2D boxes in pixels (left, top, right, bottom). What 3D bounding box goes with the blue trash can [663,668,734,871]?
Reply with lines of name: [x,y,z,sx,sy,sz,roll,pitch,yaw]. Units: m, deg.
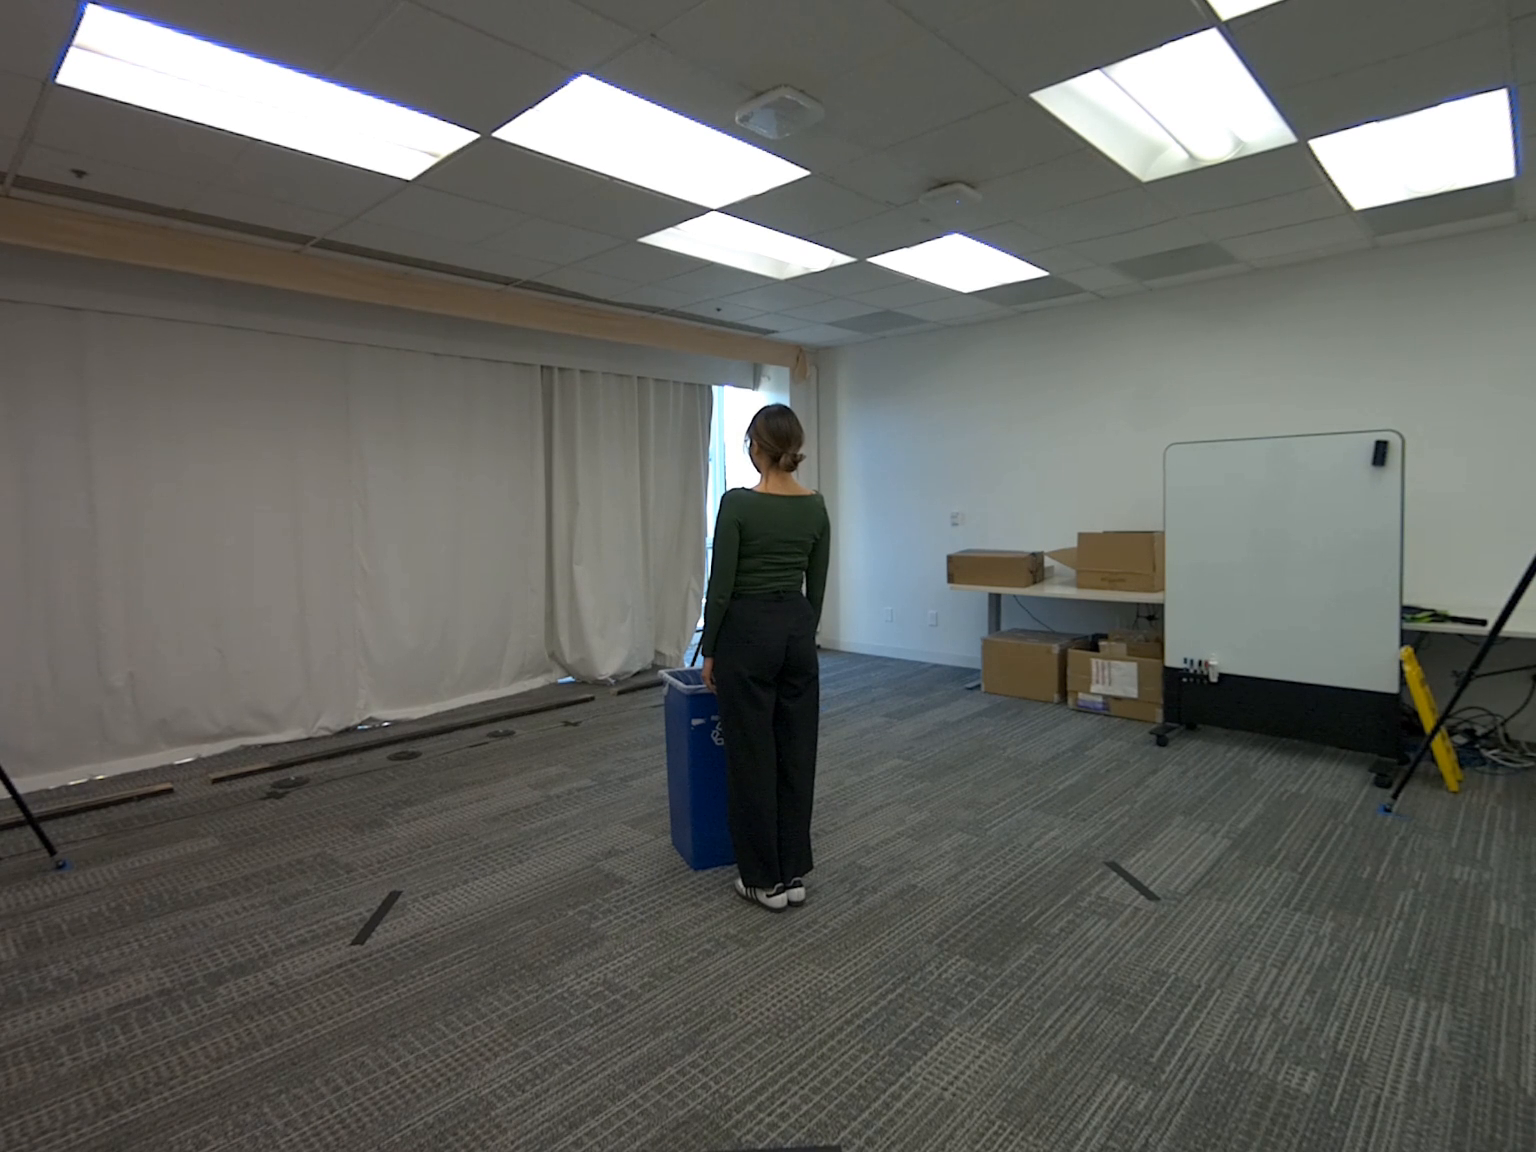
blue trash can: [-0.216,0.747,3.375,0.370,0.712,0.383,-2,4,-22]
